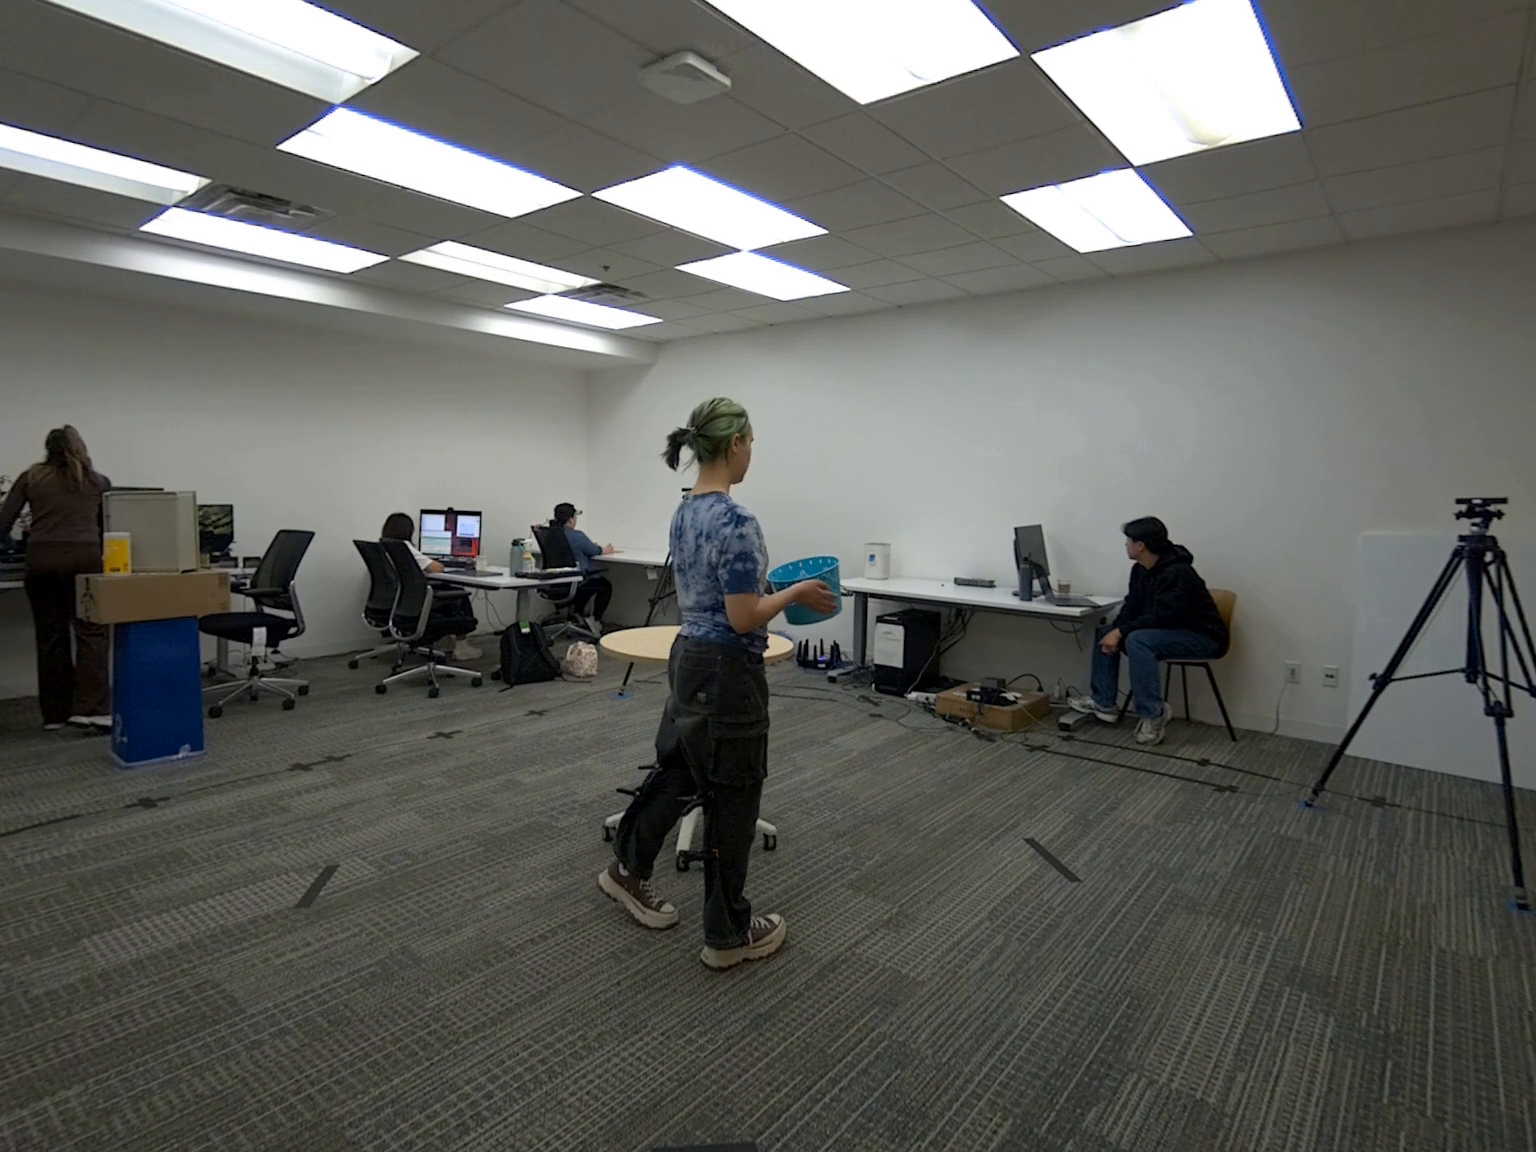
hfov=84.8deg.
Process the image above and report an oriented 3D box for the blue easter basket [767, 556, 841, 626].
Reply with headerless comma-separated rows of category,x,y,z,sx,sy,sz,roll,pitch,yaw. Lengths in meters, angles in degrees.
blue easter basket,0.116,0.049,2.617,0.244,0.153,0.247,-13,14,1
